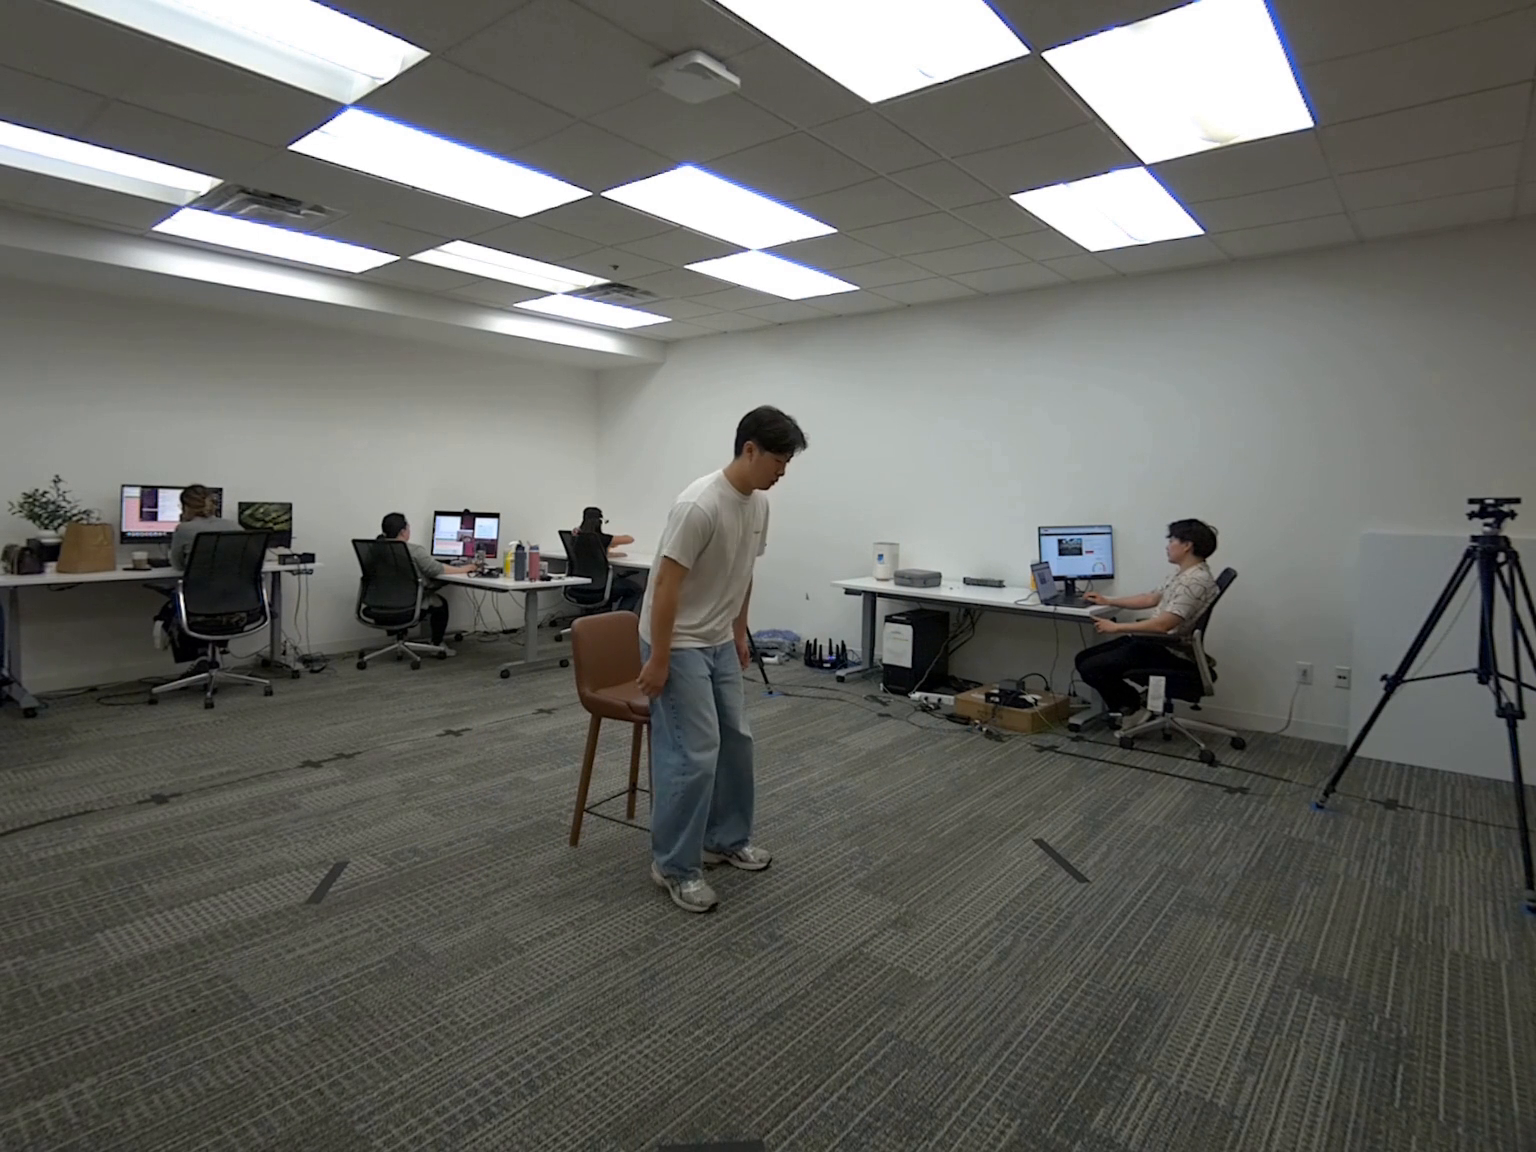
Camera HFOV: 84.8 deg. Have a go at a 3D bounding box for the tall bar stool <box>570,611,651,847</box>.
[{"bbox_3d":[-0.493,0.604,3.302,0.481,0.888,0.444,1,2,33],"label":"tall bar stool"}]
